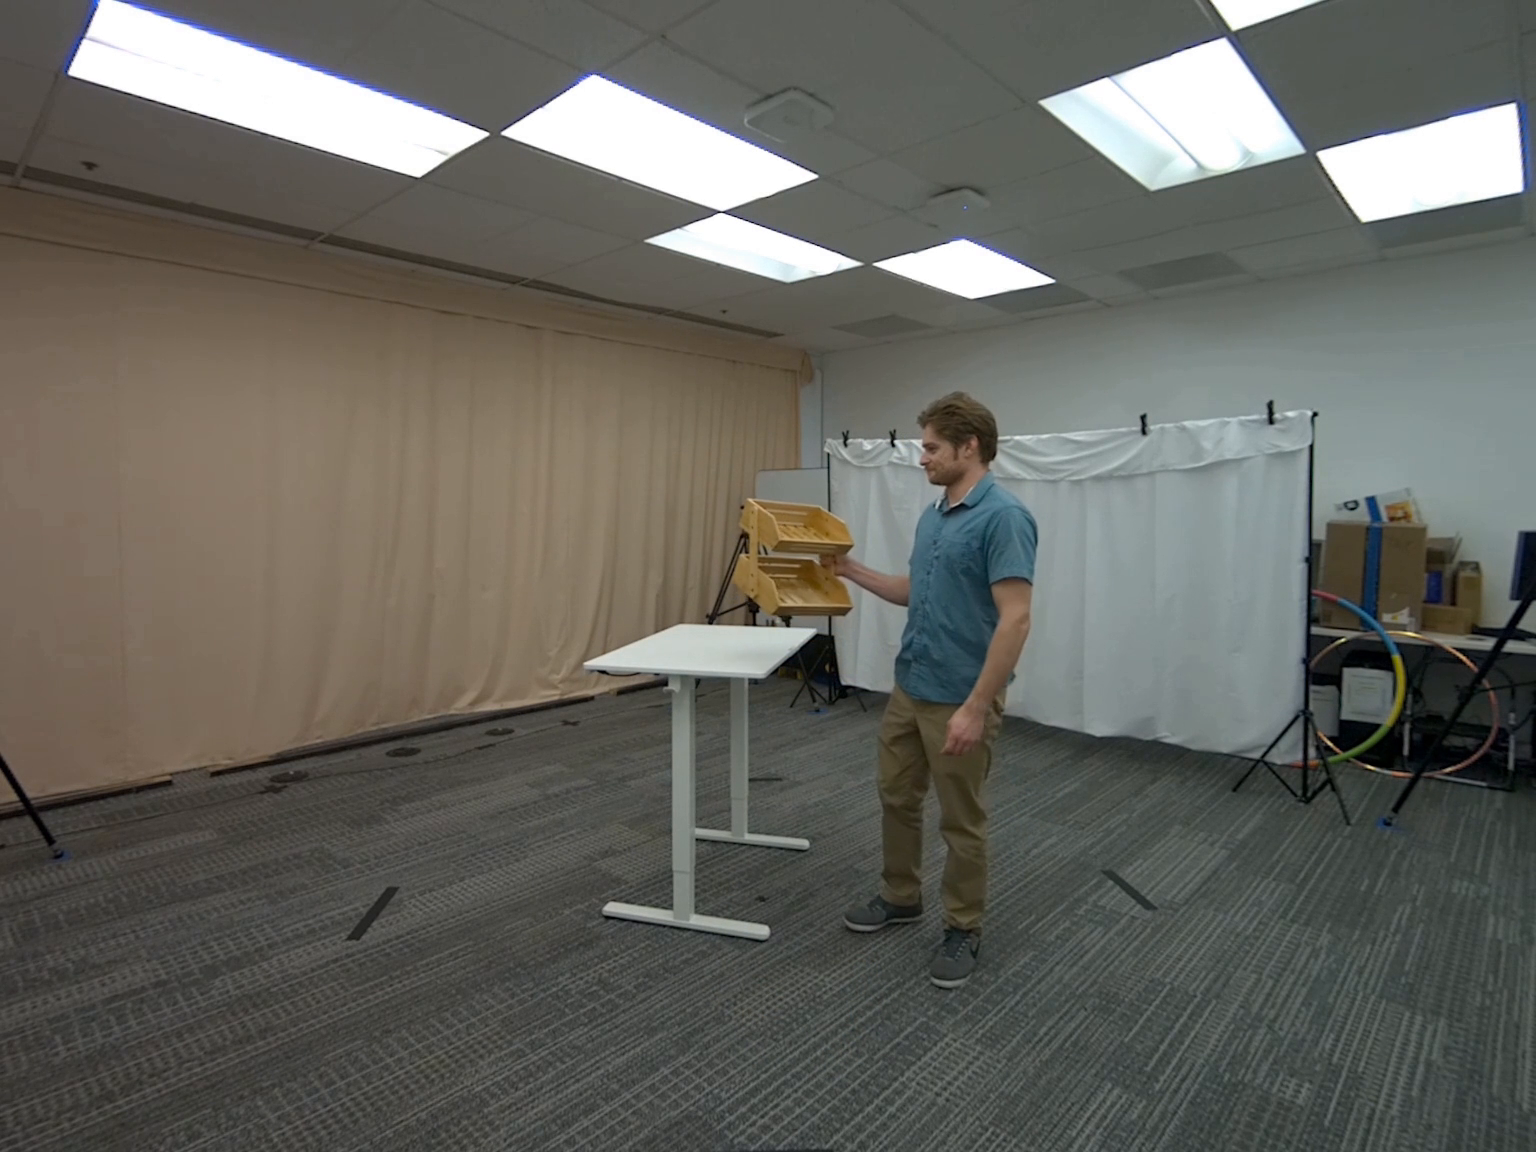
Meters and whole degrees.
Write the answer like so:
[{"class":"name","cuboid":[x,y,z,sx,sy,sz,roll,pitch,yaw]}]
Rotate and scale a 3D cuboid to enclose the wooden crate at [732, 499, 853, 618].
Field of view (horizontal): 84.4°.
[{"class":"wooden crate","cuboid":[0.099,-0.054,2.634,0.314,0.272,0.313,3,24,-37]}]
